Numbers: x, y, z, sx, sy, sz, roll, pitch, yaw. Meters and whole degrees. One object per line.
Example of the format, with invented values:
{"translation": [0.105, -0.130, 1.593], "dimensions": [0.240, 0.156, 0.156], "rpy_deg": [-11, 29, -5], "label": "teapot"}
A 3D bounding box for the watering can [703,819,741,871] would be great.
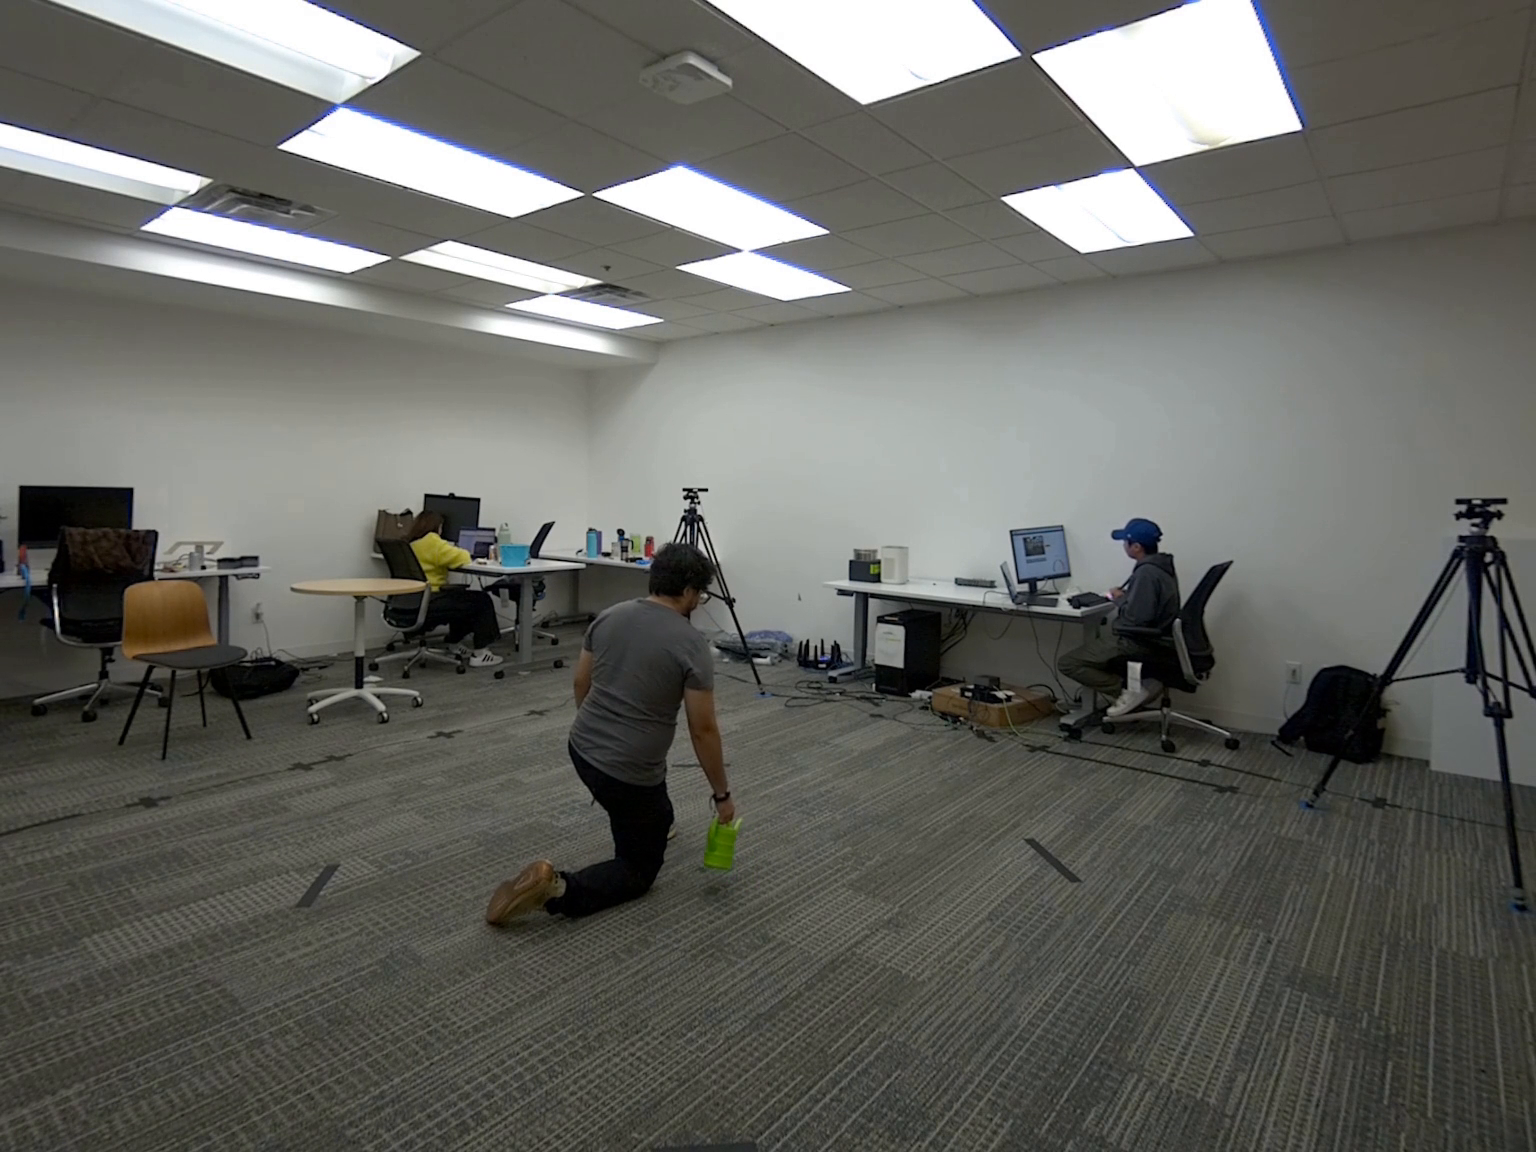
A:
{"translation": [-0.152, 0.946, 3.011], "dimensions": [0.101, 0.179, 0.267], "rpy_deg": [1, -19, 34], "label": "watering can"}
